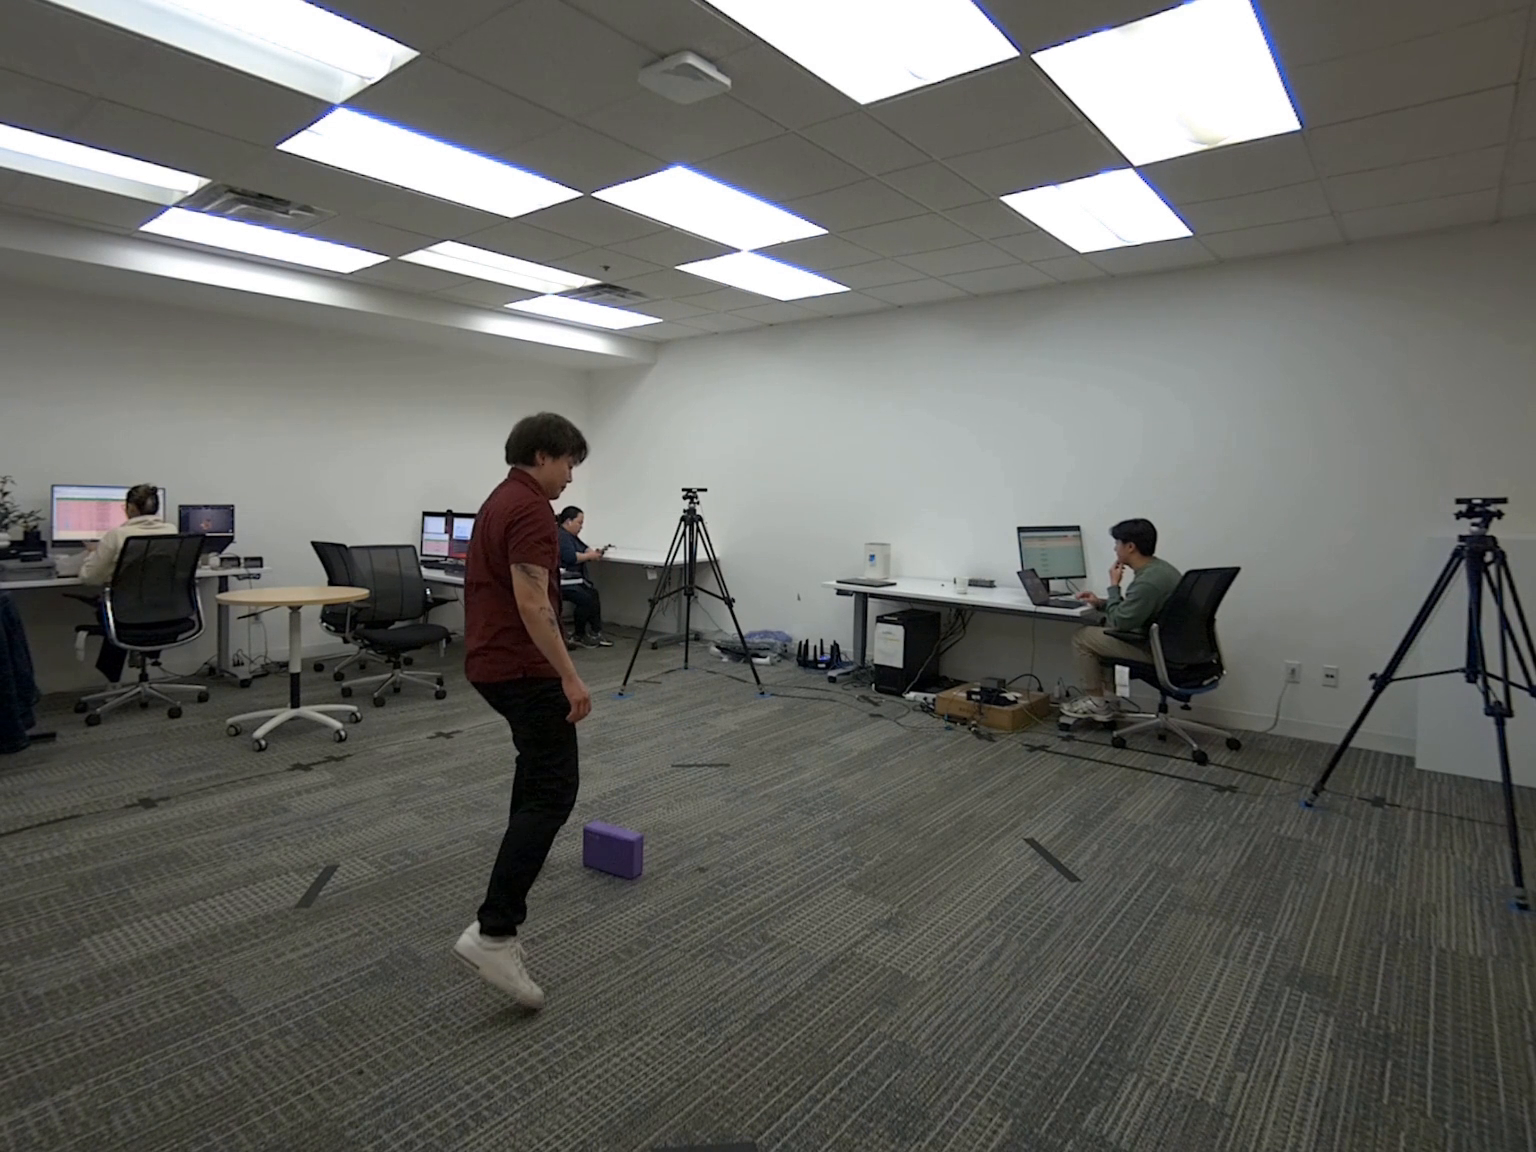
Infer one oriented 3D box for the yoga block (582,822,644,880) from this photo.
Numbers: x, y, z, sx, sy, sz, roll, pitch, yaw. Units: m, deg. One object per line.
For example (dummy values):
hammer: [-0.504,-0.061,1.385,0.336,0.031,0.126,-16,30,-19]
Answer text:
yoga block: [-0.576,0.993,3.086,0.236,0.148,0.074,3,4,29]
